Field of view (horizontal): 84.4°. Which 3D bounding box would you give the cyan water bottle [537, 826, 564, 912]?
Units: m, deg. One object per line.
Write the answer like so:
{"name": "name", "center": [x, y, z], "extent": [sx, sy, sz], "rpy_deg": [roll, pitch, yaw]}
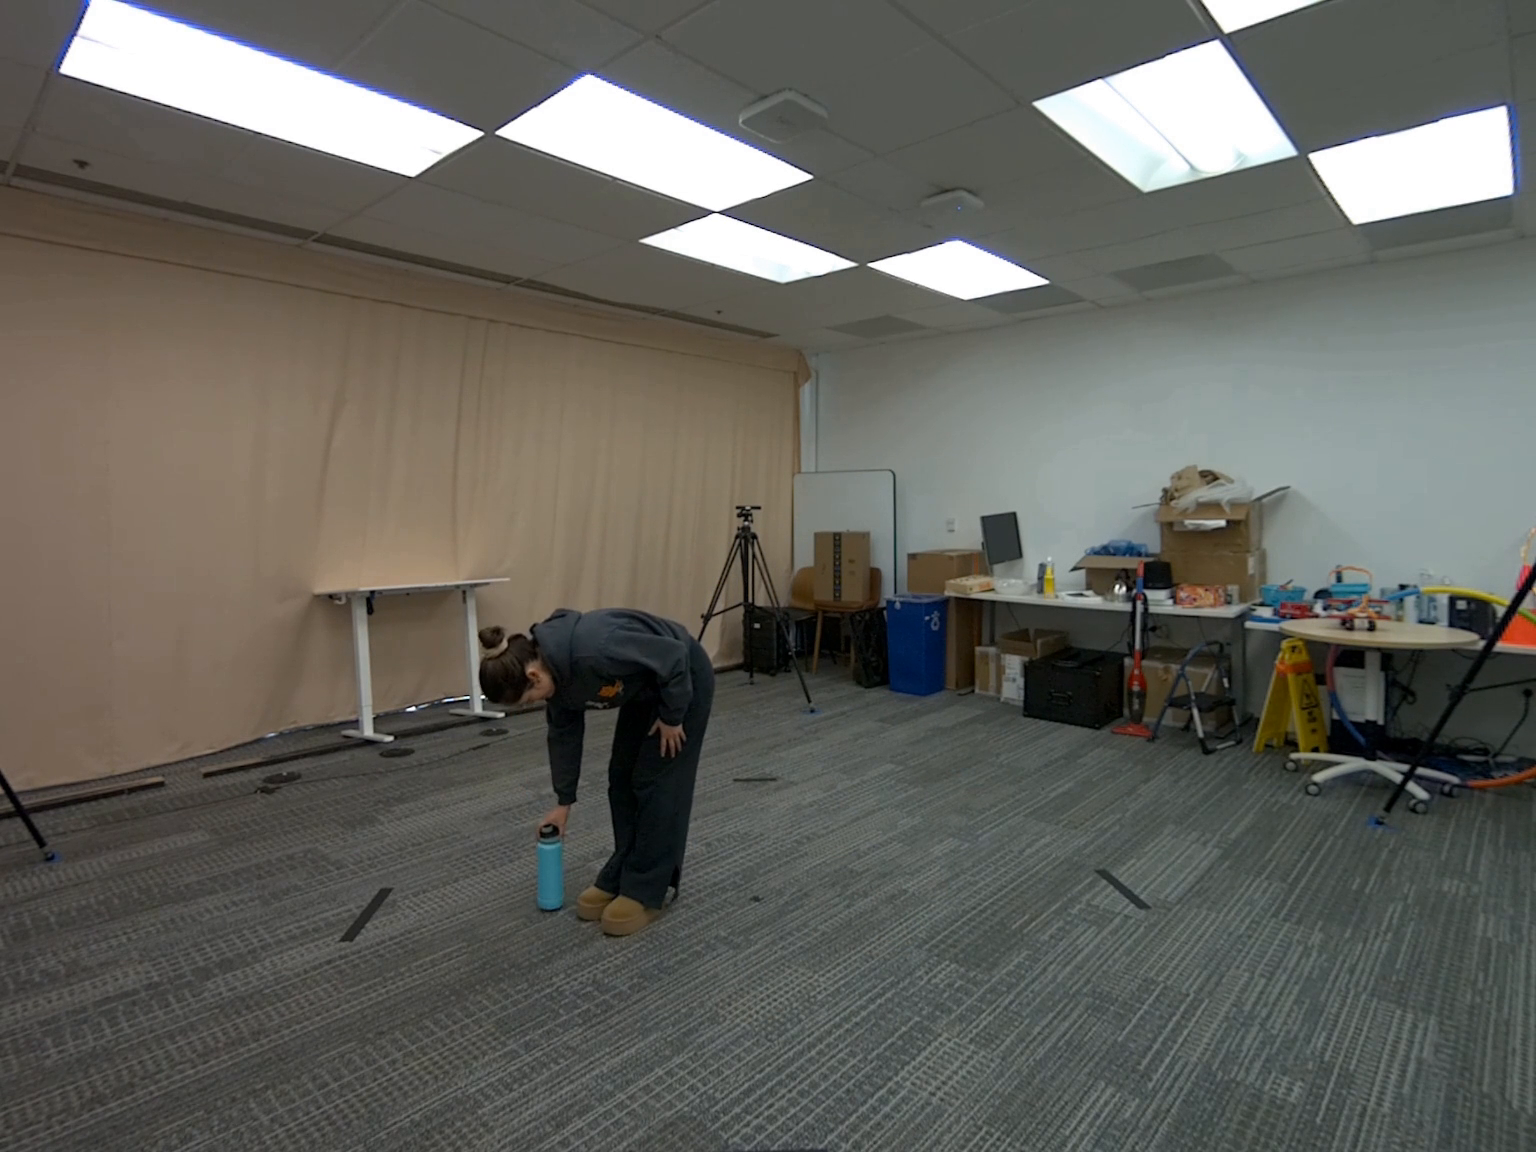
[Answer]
{"name": "cyan water bottle", "center": [-0.740, 0.991, 2.920], "extent": [0.092, 0.283, 0.092], "rpy_deg": [-2, 3, -2]}
